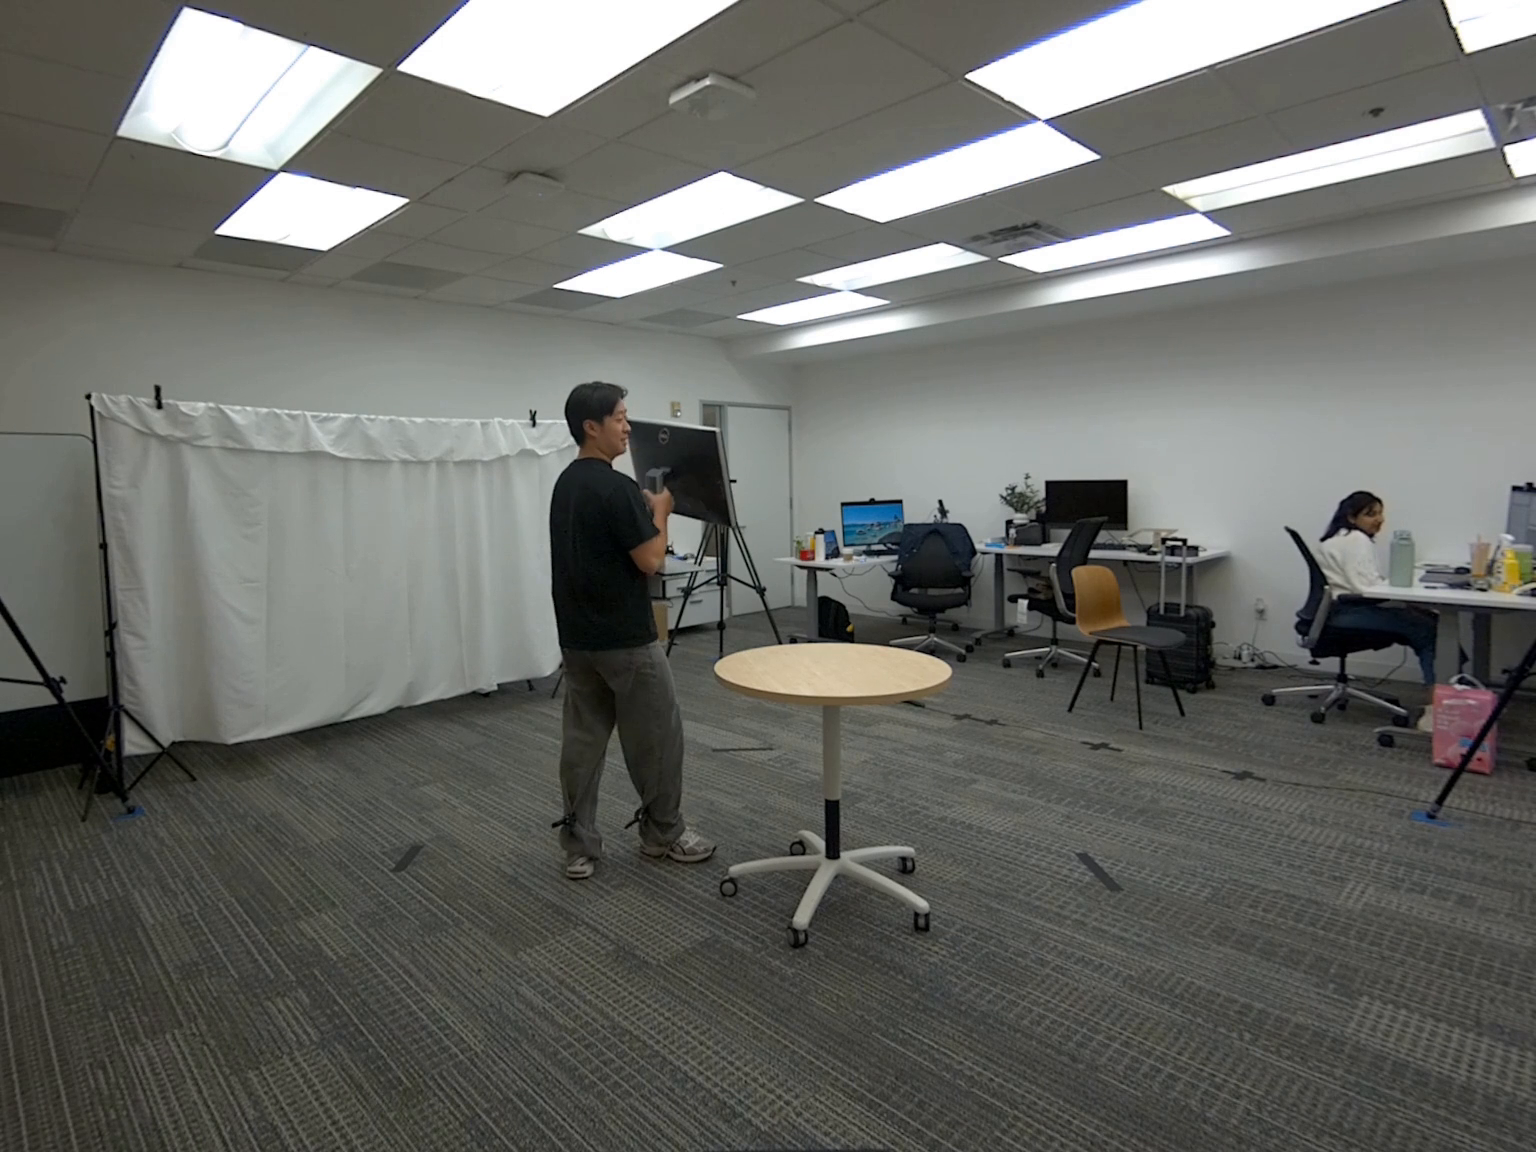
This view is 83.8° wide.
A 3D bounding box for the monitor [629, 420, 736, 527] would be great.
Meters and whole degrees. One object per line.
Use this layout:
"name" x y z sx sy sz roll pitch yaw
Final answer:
"monitor" -0.363 -0.288 3.179 0.216 0.560 0.582 -6 15 -39
